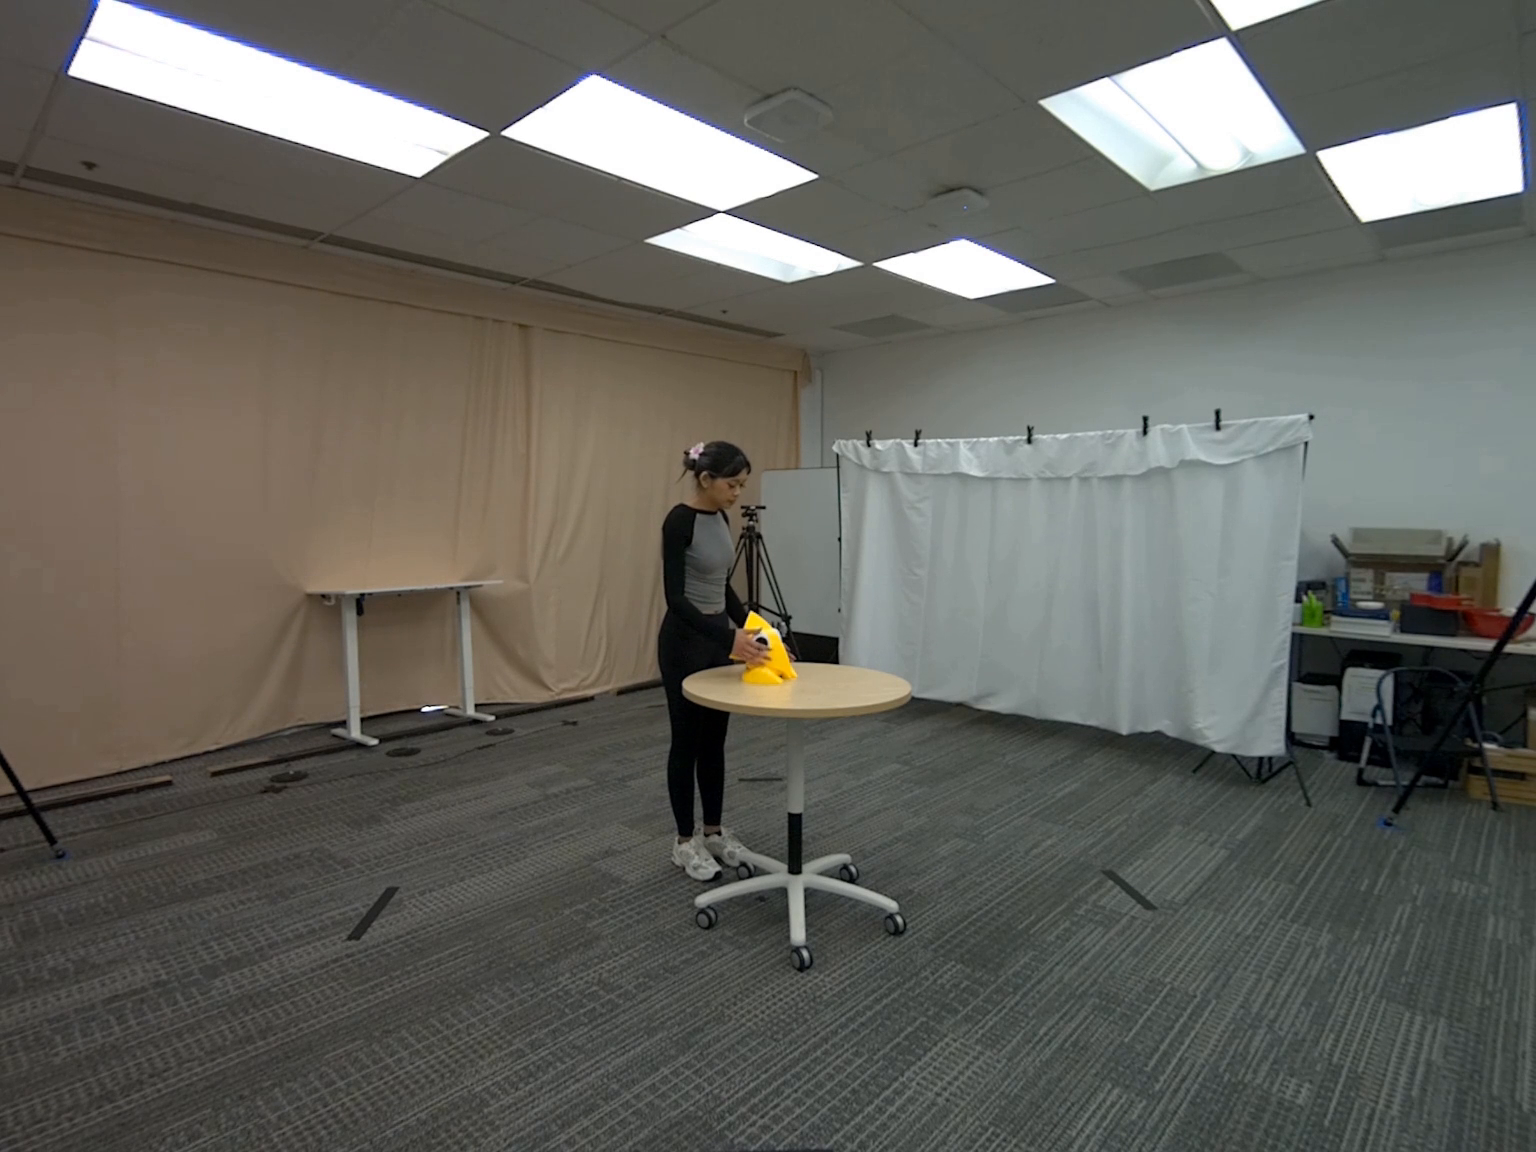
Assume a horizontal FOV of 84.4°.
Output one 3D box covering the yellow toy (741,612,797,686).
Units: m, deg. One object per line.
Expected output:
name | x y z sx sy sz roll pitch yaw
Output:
yellow toy | 0.003 0.241 2.925 0.198 0.230 0.200 2 4 26
